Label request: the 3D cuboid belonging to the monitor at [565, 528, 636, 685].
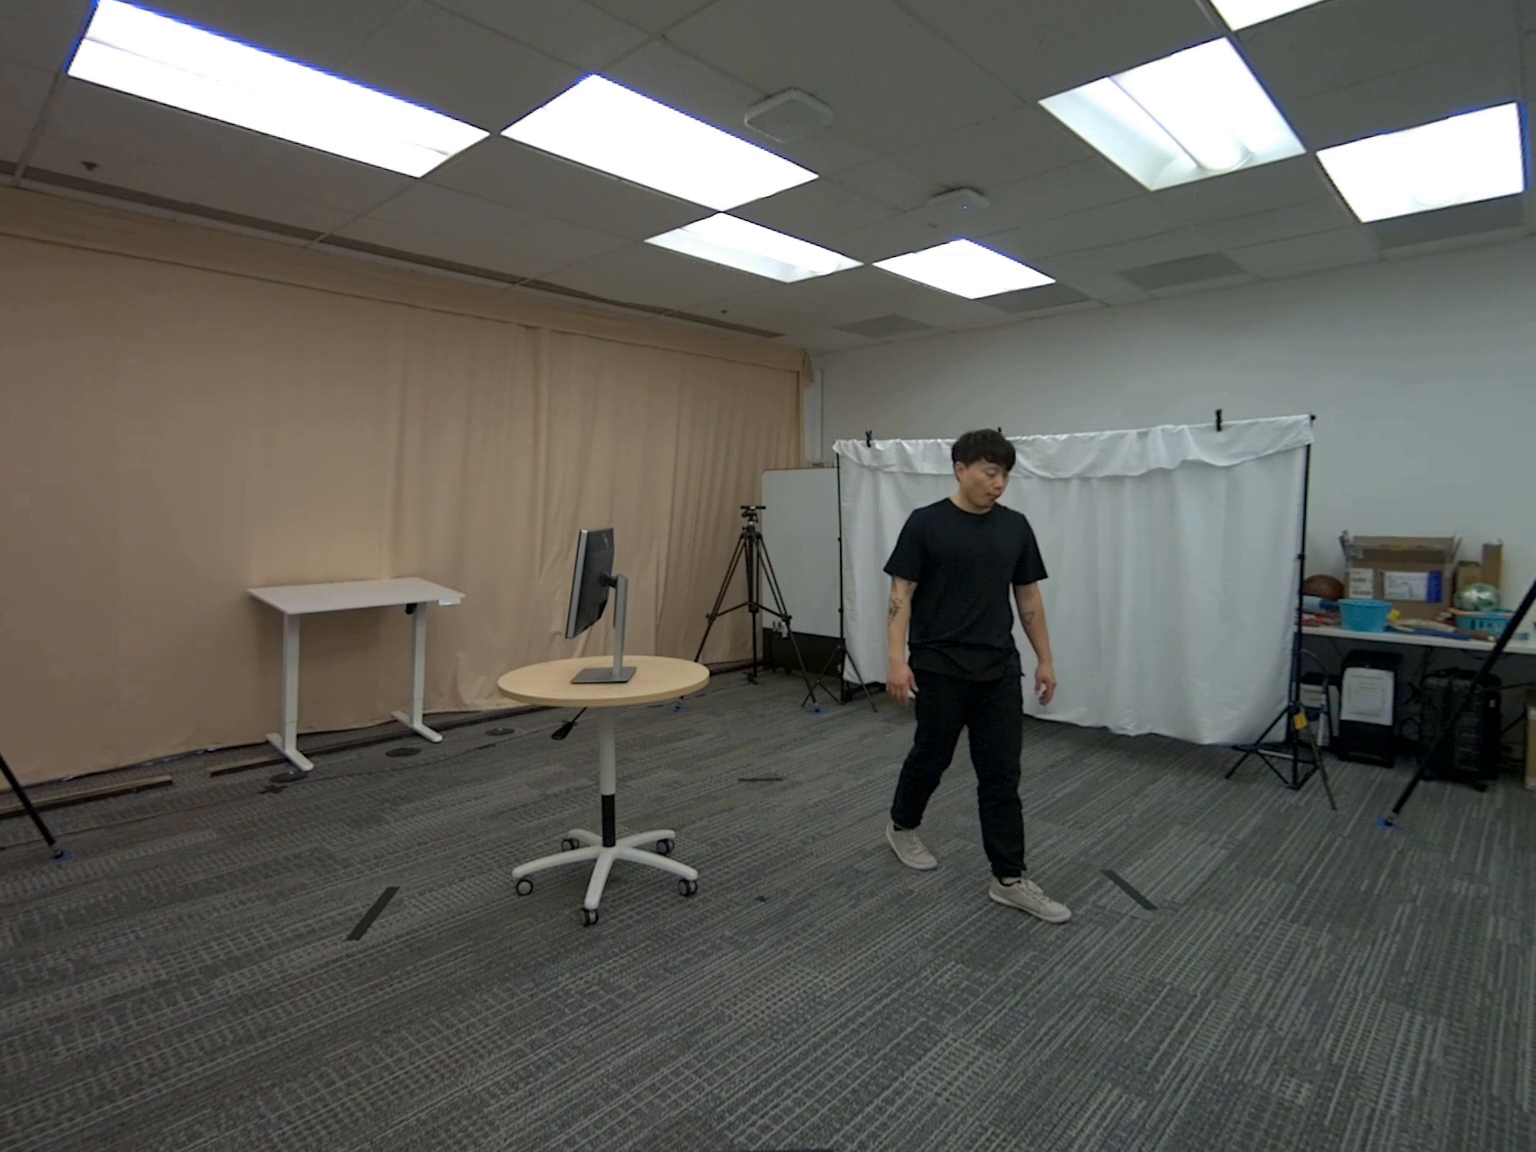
[{"bbox_3d":[-0.592,0.104,3.041,0.187,0.521,0.540,-2,3,-2],"label":"monitor"}]
